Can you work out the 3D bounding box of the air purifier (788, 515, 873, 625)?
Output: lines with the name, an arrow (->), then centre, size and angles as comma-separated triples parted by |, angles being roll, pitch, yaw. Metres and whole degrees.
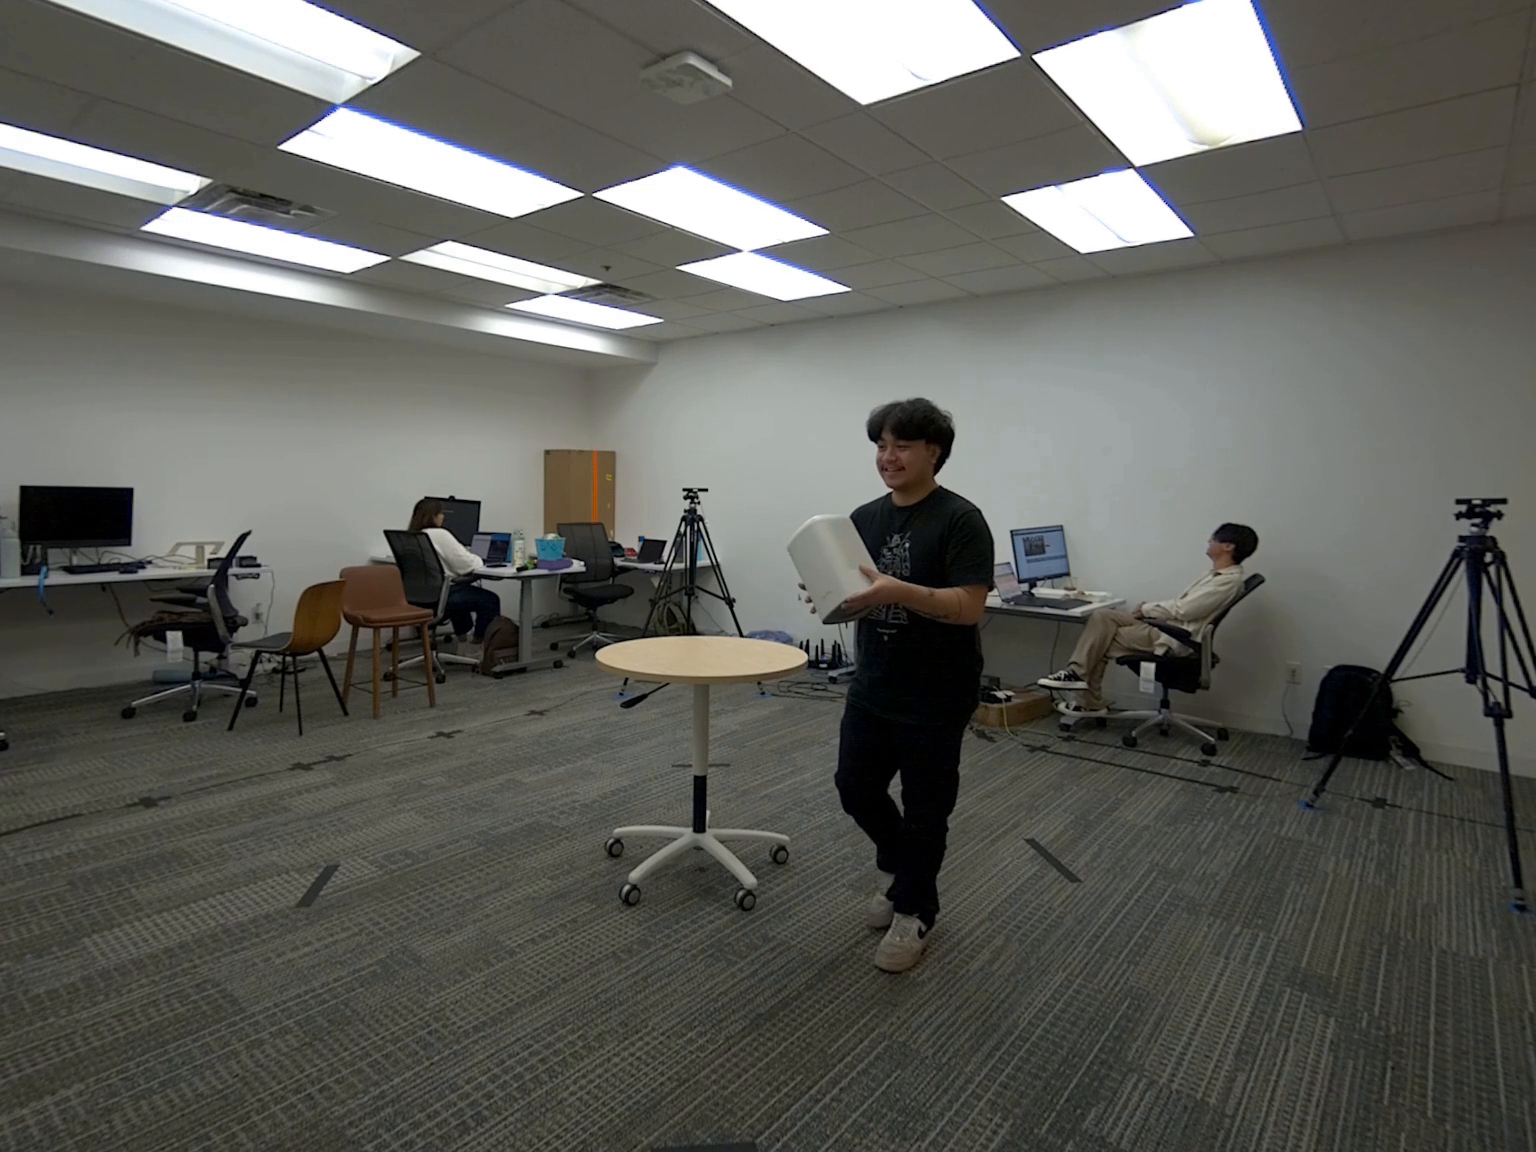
air purifier -> 0.180, -0.021, 2.353 | 0.166, 0.274, 0.171 | -4, -33, -39
